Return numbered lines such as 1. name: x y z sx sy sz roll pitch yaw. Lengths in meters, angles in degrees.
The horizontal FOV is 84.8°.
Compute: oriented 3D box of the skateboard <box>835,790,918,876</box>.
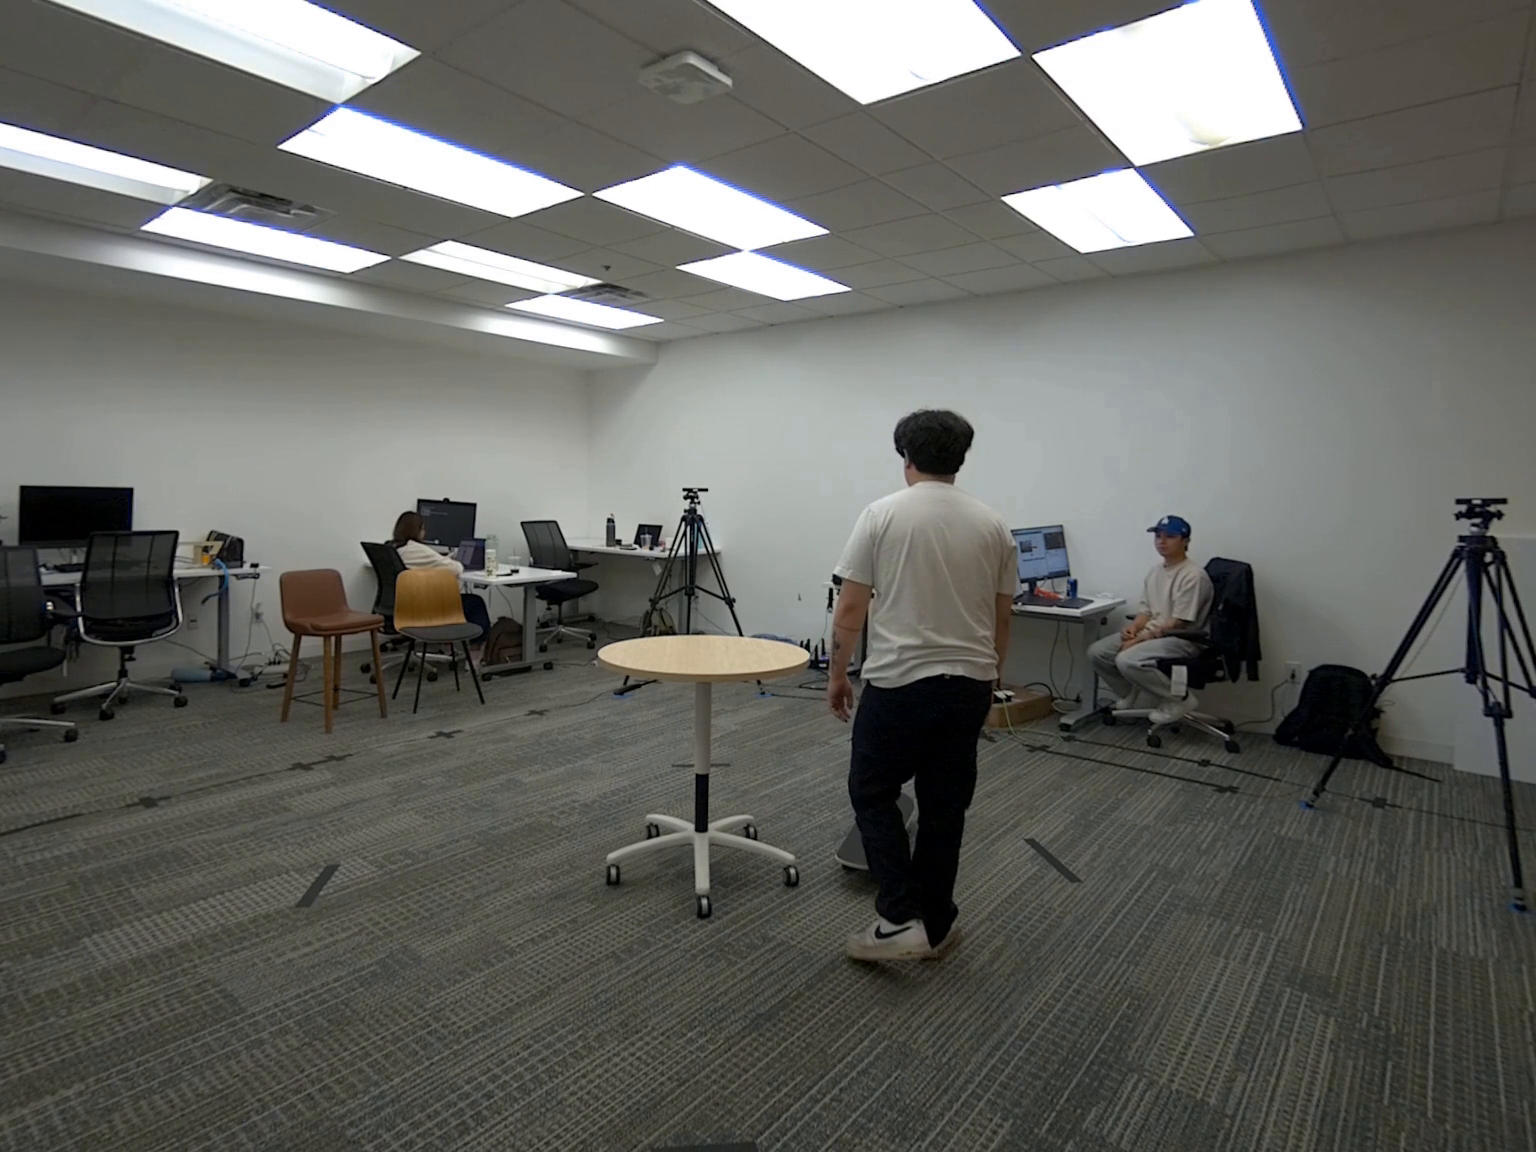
1. skateboard: 0.419 1.005 3.296 0.198 0.110 0.772 3 6 19
